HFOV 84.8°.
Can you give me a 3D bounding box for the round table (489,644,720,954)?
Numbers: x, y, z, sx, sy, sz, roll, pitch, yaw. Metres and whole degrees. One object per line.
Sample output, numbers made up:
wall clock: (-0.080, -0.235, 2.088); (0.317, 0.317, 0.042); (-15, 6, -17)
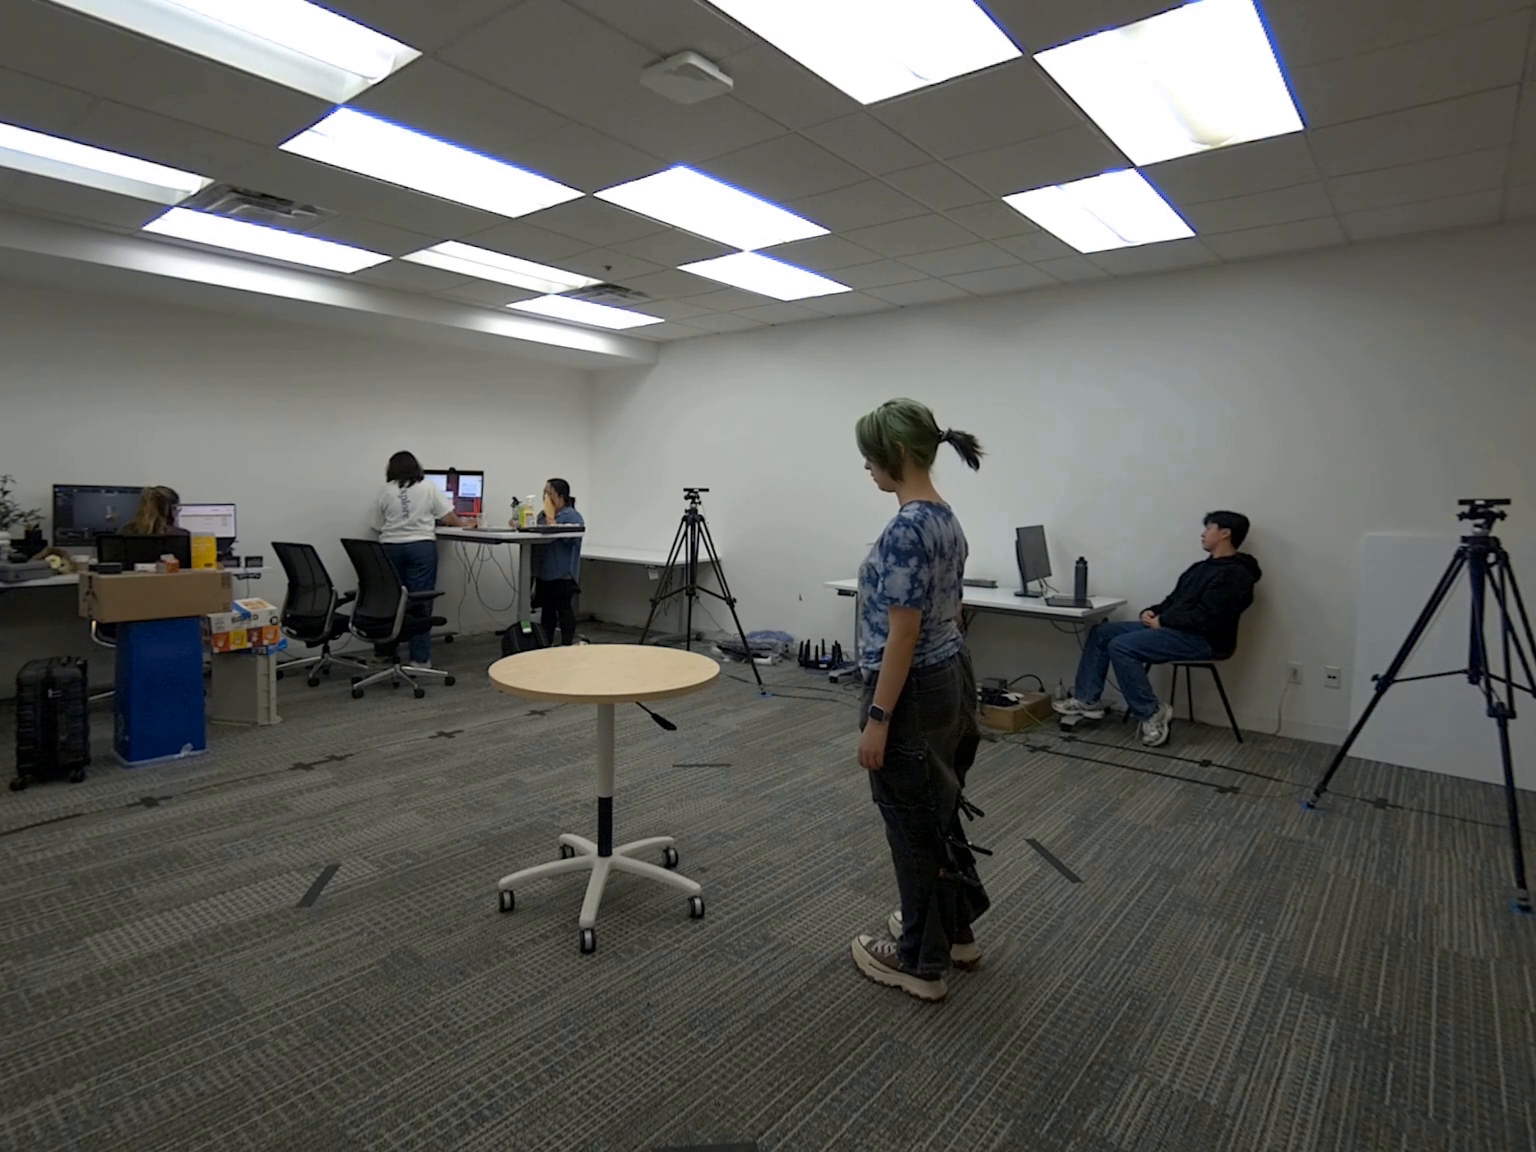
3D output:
round table: (-0.559, 0.697, 2.878); (0.763, 0.791, 0.768); (1, 5, -2)
